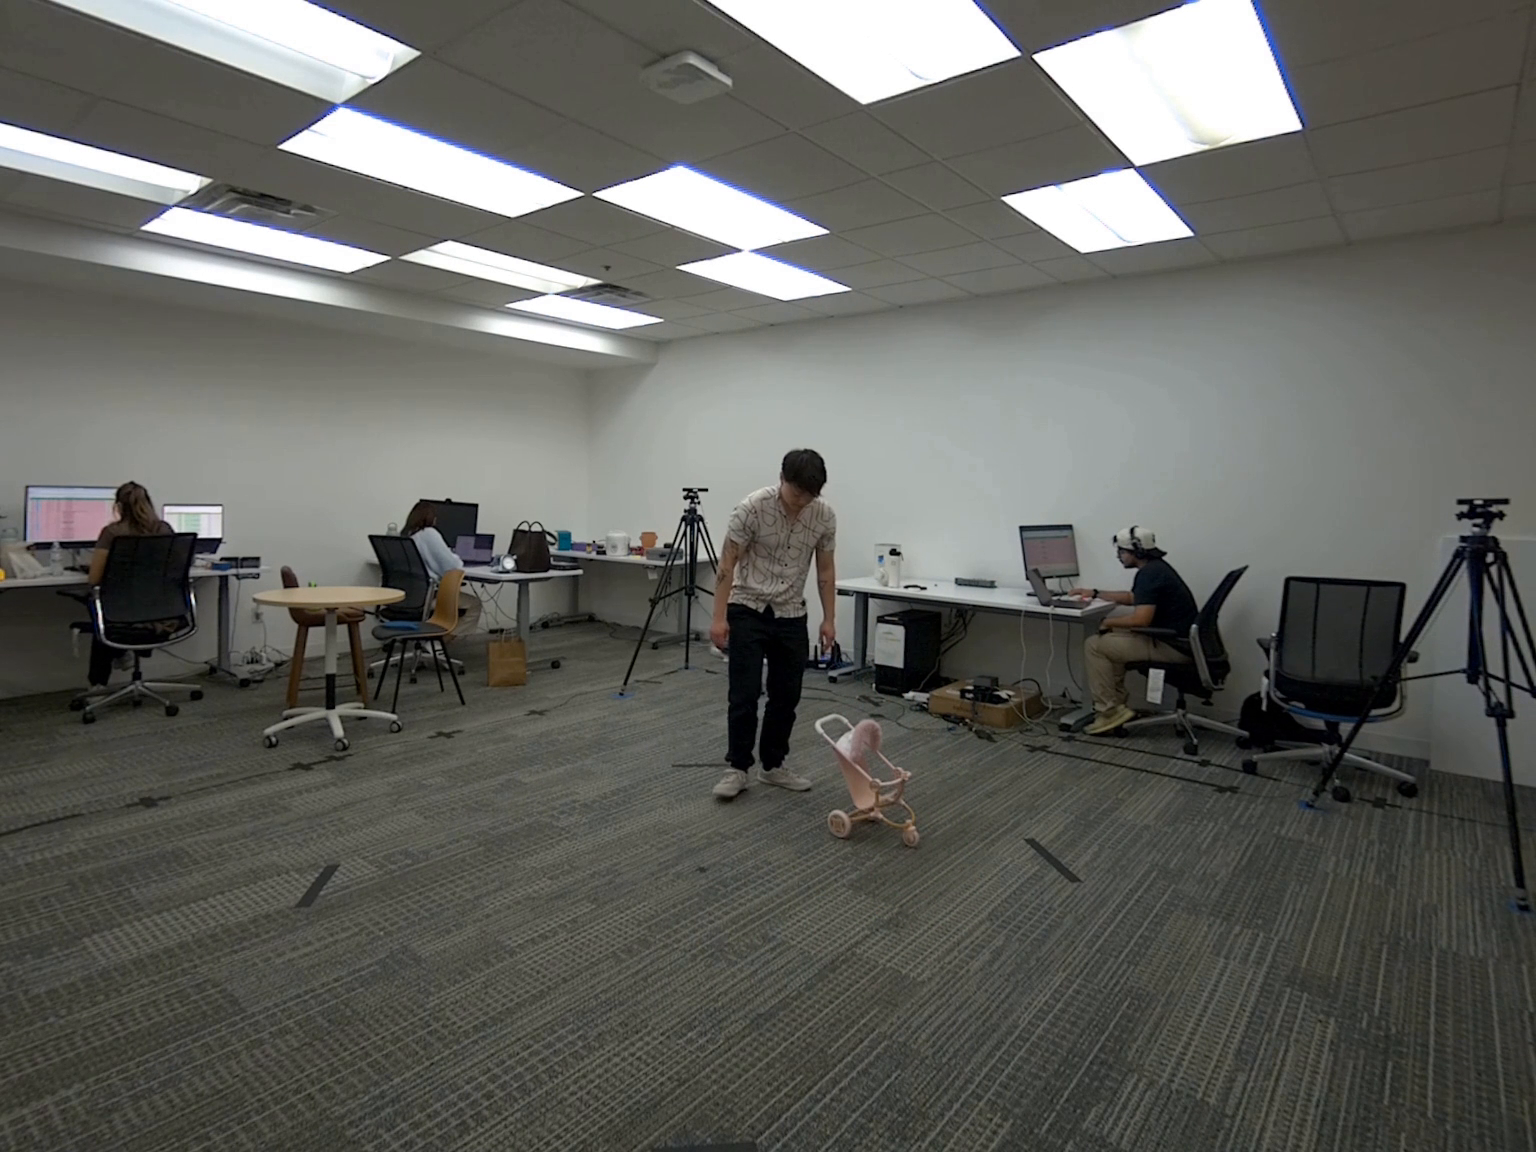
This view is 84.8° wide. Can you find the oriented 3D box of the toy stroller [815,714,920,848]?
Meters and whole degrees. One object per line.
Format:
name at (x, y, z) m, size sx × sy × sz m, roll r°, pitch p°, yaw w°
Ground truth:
toy stroller at (0.408, 0.821, 3.468) m, size 0.349 × 0.540 × 0.273 m, roll -17°, pitch -10°, yaw 42°
